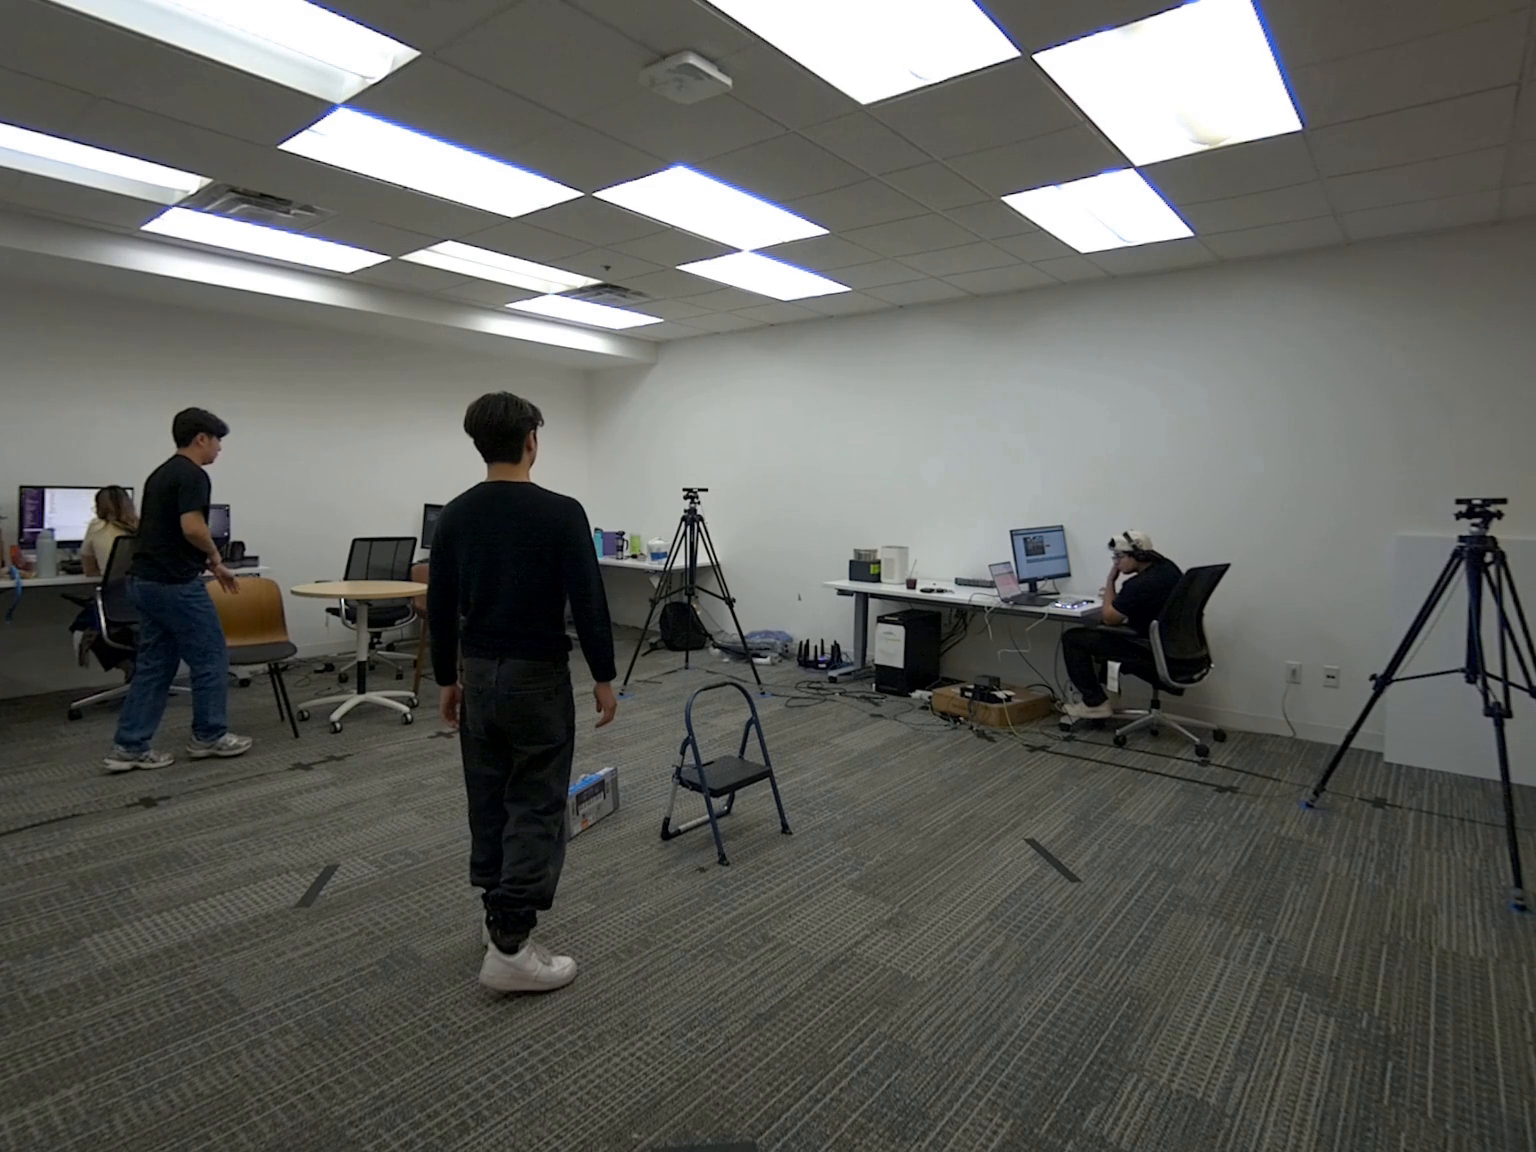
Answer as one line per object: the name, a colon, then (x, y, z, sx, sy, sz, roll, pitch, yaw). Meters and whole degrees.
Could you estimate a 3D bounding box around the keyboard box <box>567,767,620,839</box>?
keyboard box: (-0.767, 0.940, 3.517, 0.060, 0.176, 0.428, -5, 3, 21)
